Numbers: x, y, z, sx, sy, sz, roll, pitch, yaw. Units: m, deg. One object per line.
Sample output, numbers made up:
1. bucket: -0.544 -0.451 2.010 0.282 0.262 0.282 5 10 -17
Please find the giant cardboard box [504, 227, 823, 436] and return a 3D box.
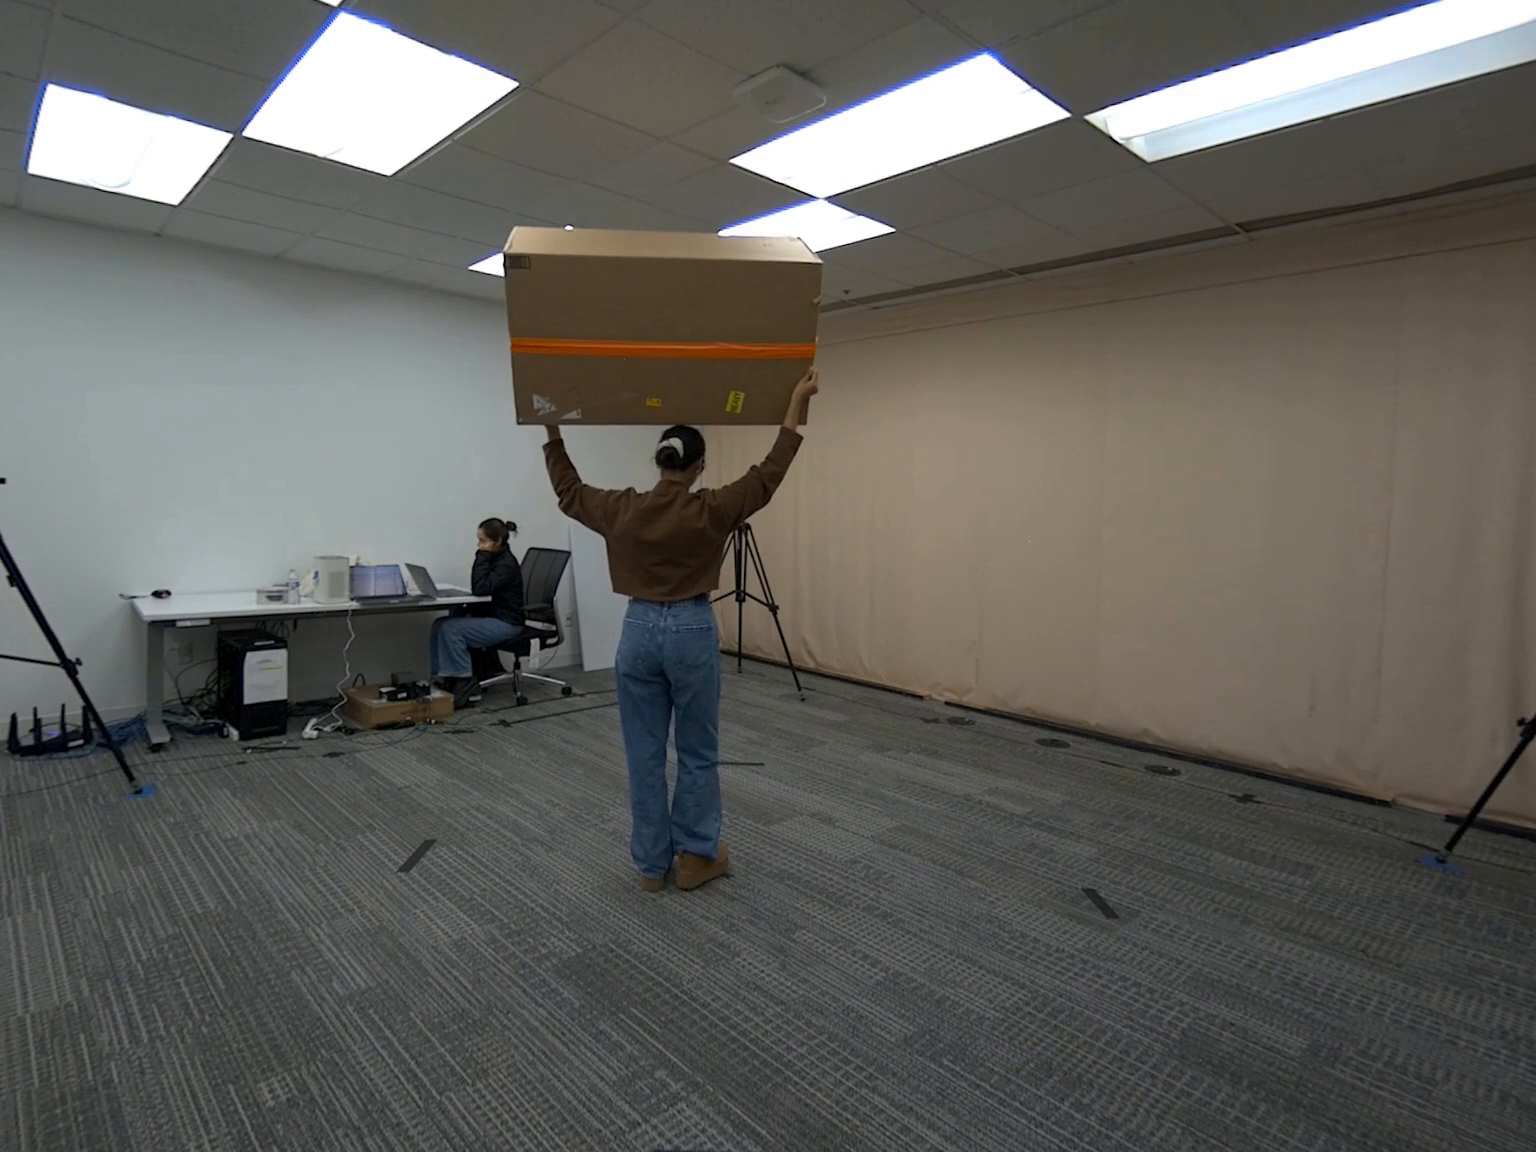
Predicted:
1. giant cardboard box: -0.371 -0.876 2.977 1.019 0.567 0.437 -1 33 -8
